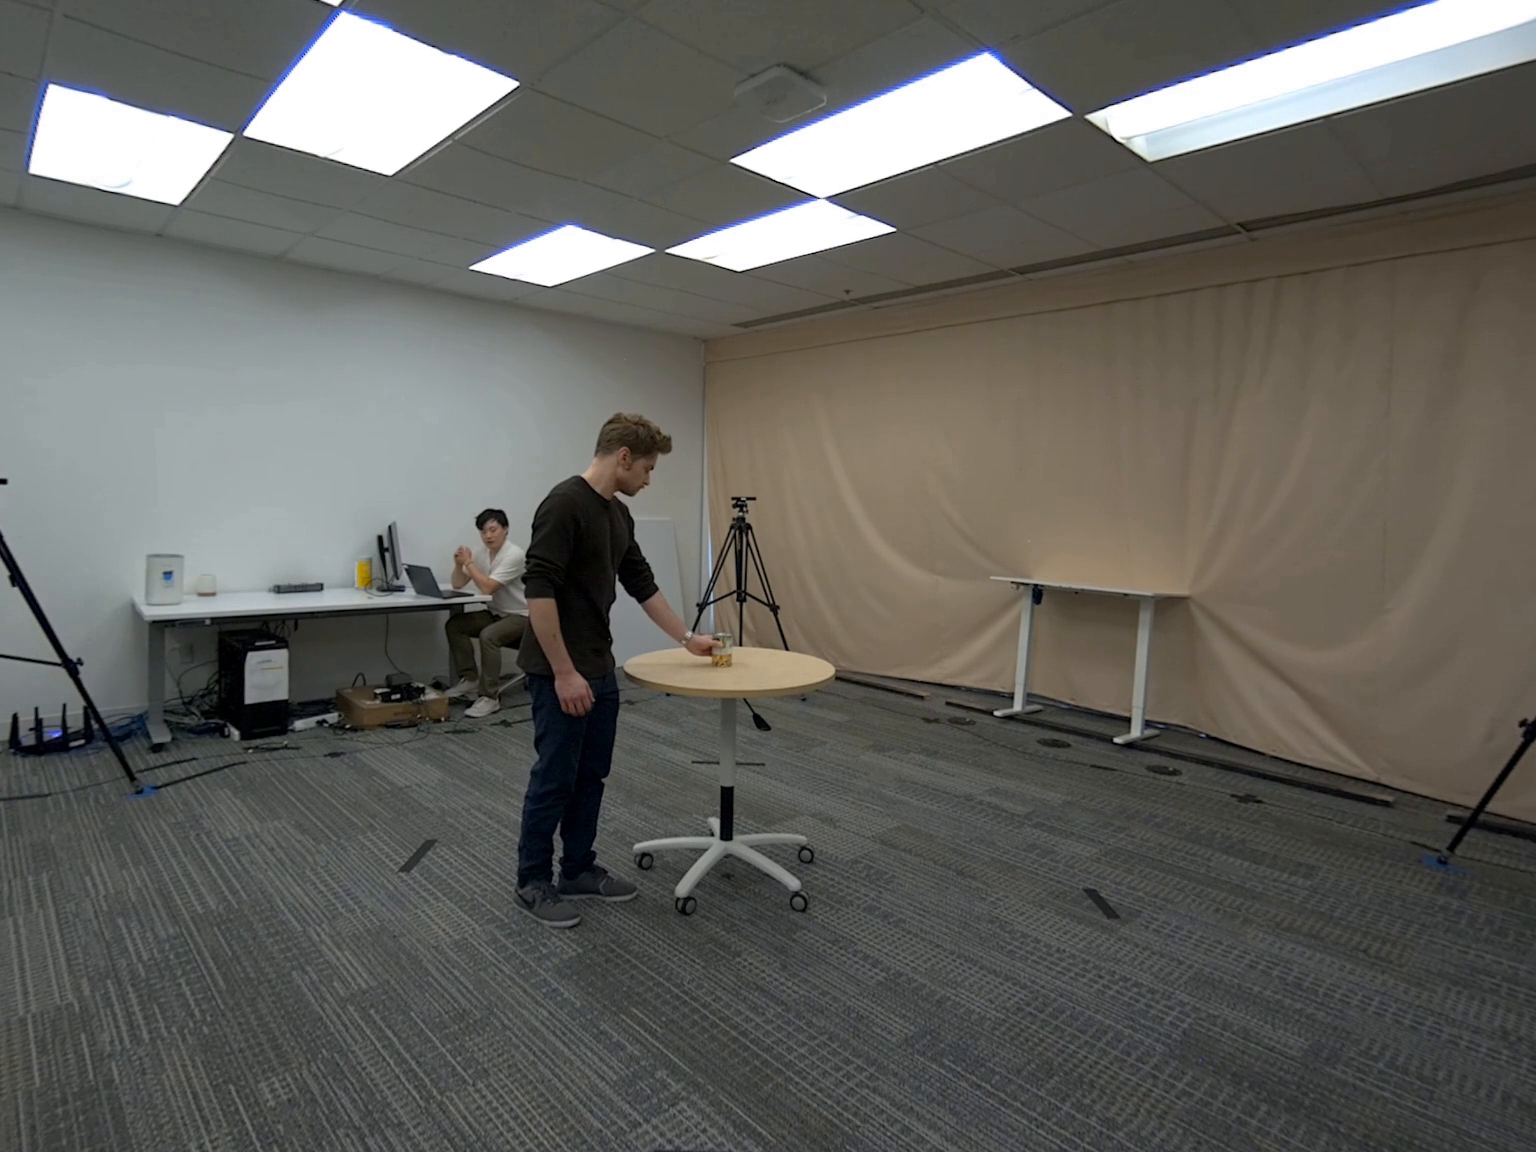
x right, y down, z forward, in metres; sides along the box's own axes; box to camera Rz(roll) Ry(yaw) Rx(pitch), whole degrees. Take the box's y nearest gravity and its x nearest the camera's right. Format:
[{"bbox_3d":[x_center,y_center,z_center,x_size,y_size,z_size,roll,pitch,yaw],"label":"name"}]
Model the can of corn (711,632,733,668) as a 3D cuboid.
[{"bbox_3d":[-0.177,0.270,3.056,0.074,0.111,0.074,-1,2,-1],"label":"can of corn"}]
